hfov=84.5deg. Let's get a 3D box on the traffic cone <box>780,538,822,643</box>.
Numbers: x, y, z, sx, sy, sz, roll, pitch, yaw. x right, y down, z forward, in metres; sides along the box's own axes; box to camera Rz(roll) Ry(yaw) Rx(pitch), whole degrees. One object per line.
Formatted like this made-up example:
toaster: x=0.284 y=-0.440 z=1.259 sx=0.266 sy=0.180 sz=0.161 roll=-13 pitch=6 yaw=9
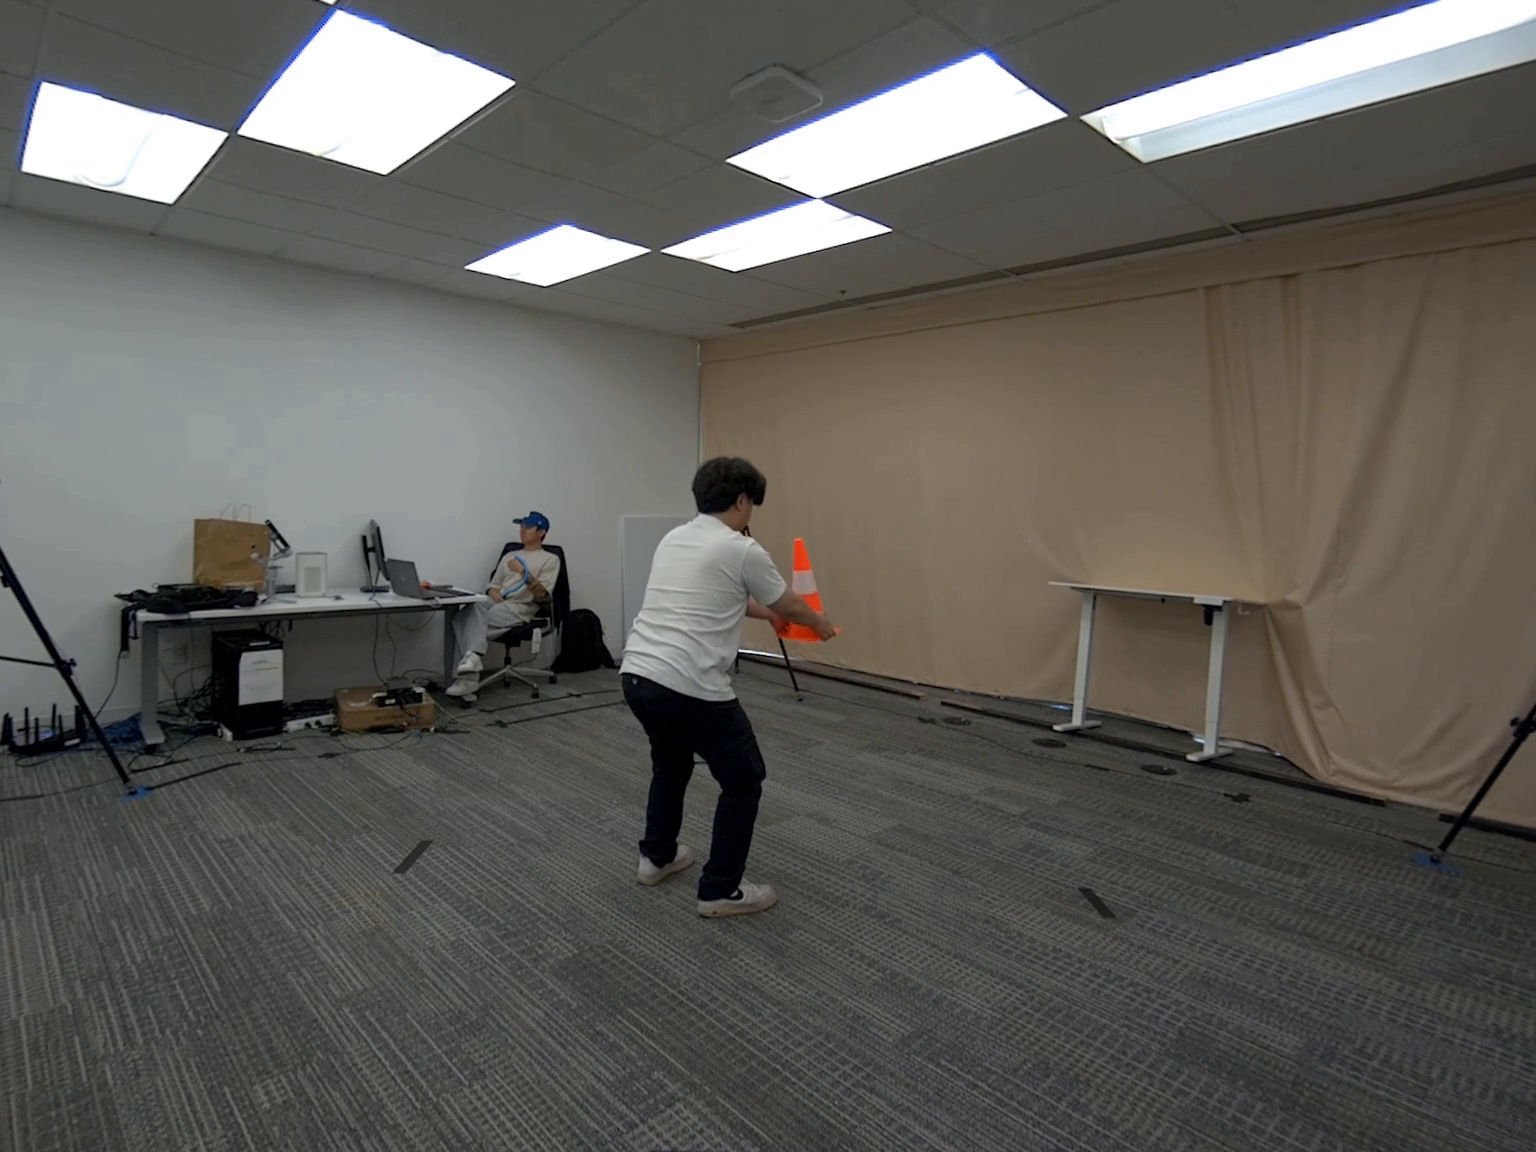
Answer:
traffic cone: x=0.133 y=0.047 z=3.314 sx=0.209 sy=0.381 sz=0.200 roll=1 pitch=9 yaw=27
